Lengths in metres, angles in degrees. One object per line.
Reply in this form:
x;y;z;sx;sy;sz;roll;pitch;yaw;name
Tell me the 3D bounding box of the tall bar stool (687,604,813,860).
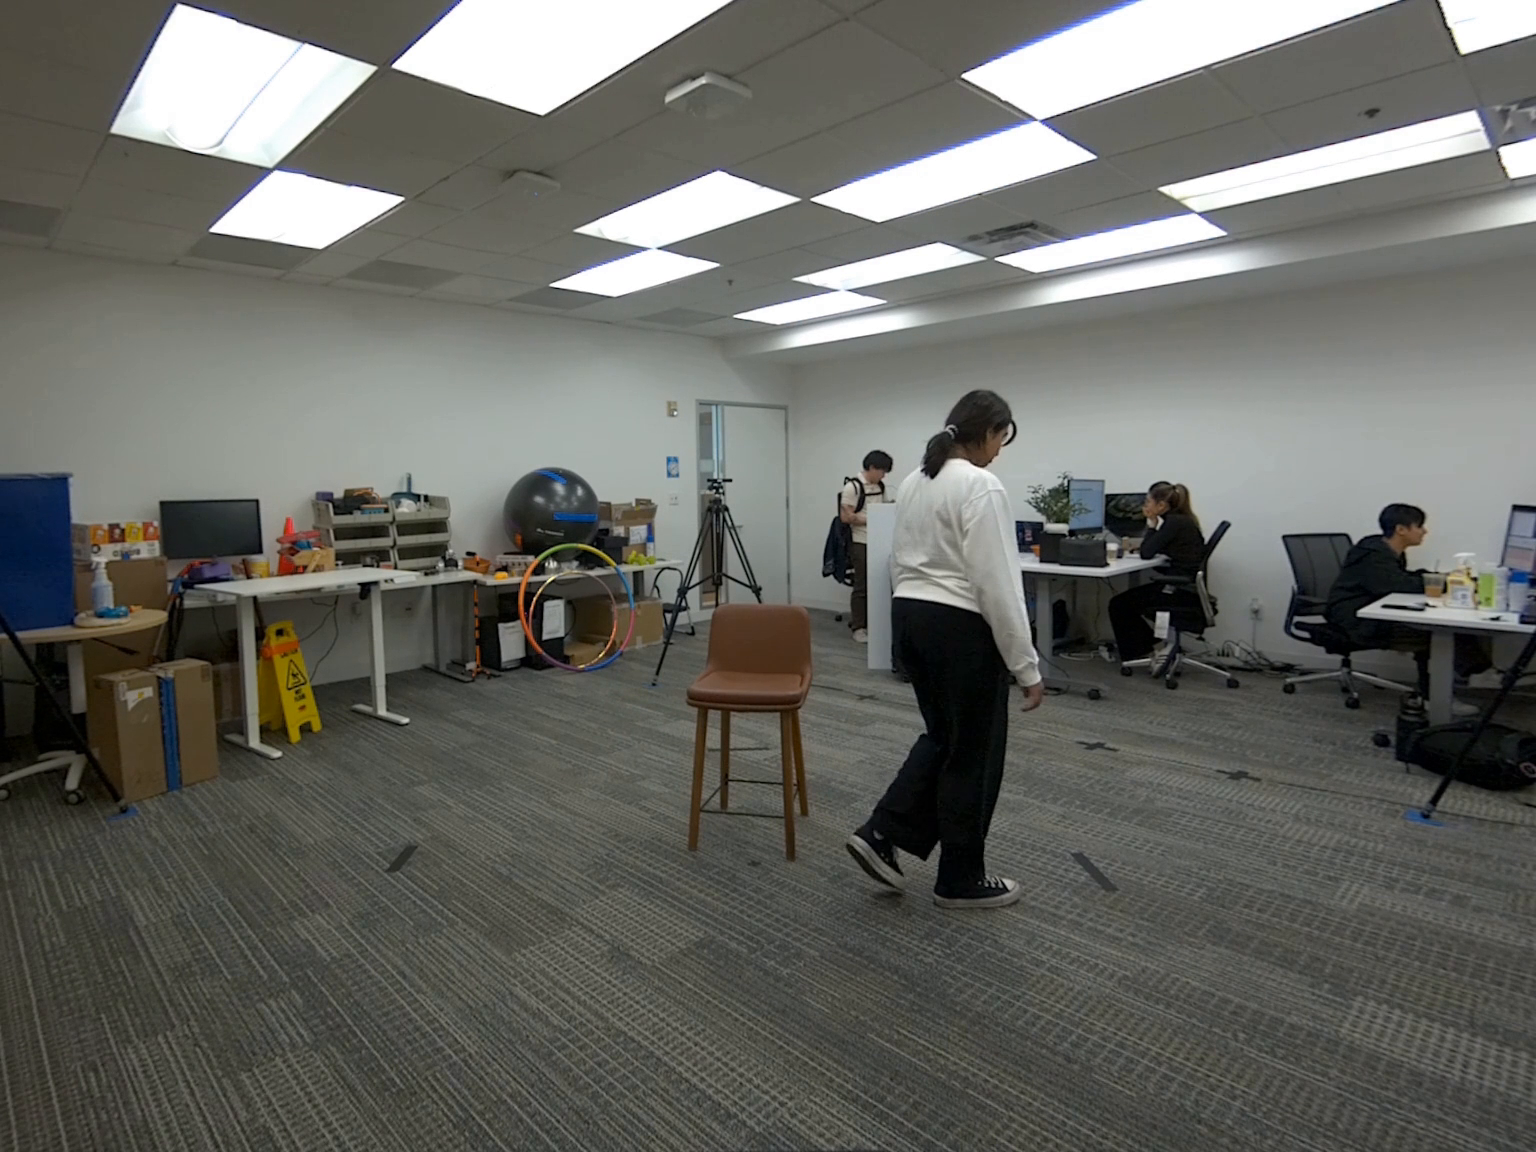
-0.063;0.581;3.371;0.463;0.888;0.462;0;2;14;tall bar stool
